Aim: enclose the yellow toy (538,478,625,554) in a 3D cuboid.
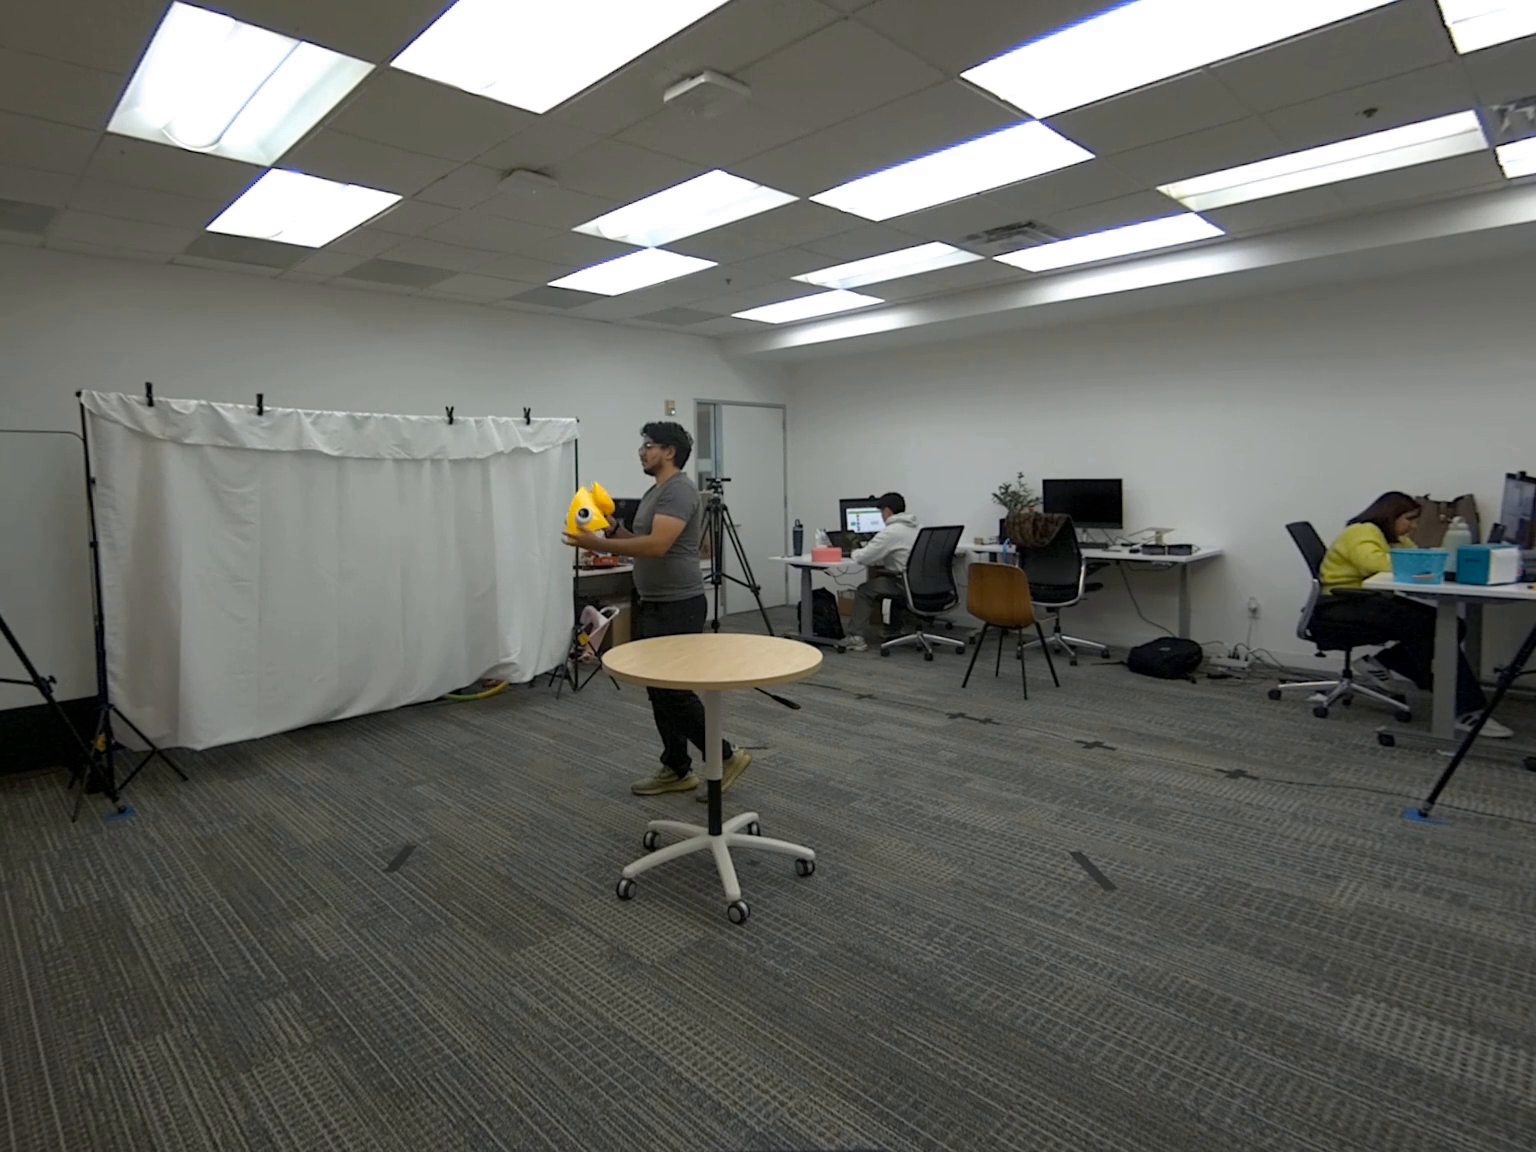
[{"bbox_3d":[-0.793,-0.256,3.634,0.209,0.189,0.230,-12,26,48],"label":"yellow toy"}]
